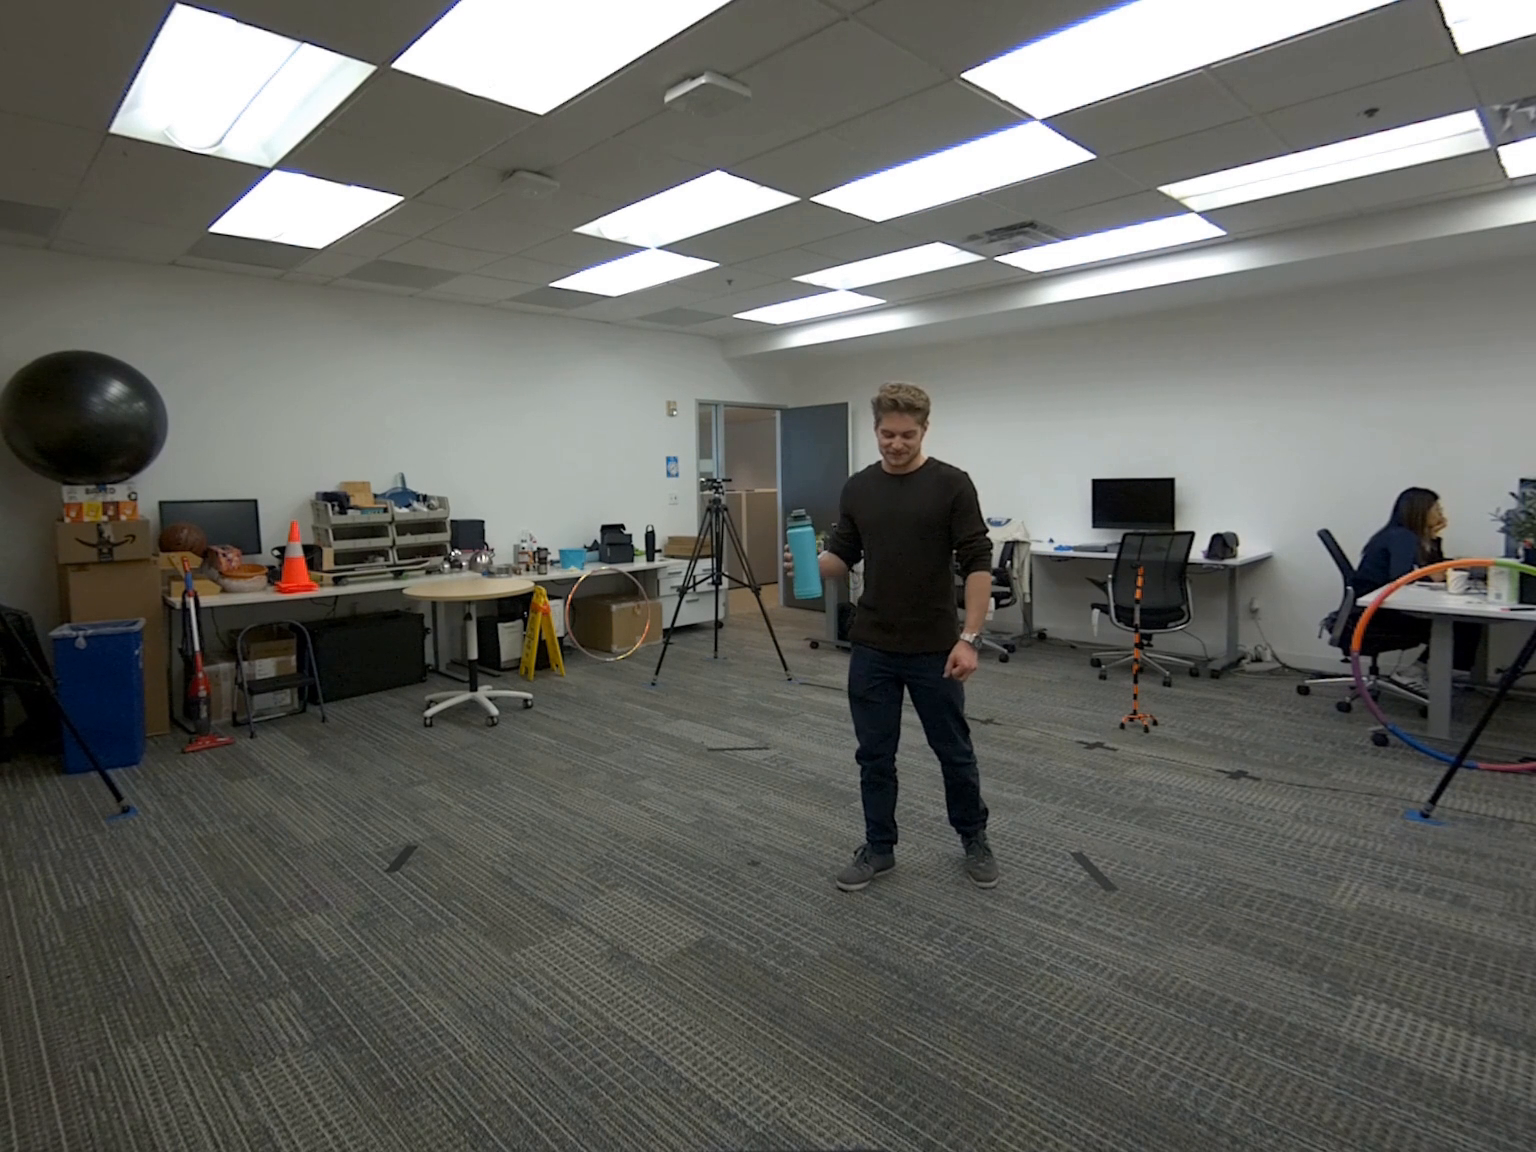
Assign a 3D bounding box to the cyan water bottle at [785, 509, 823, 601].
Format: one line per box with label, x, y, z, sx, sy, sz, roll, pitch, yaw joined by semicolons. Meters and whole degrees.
cyan water bottle;0.125;-0.076;2.769;0.092;0.284;0.092;-8;-1;-2
